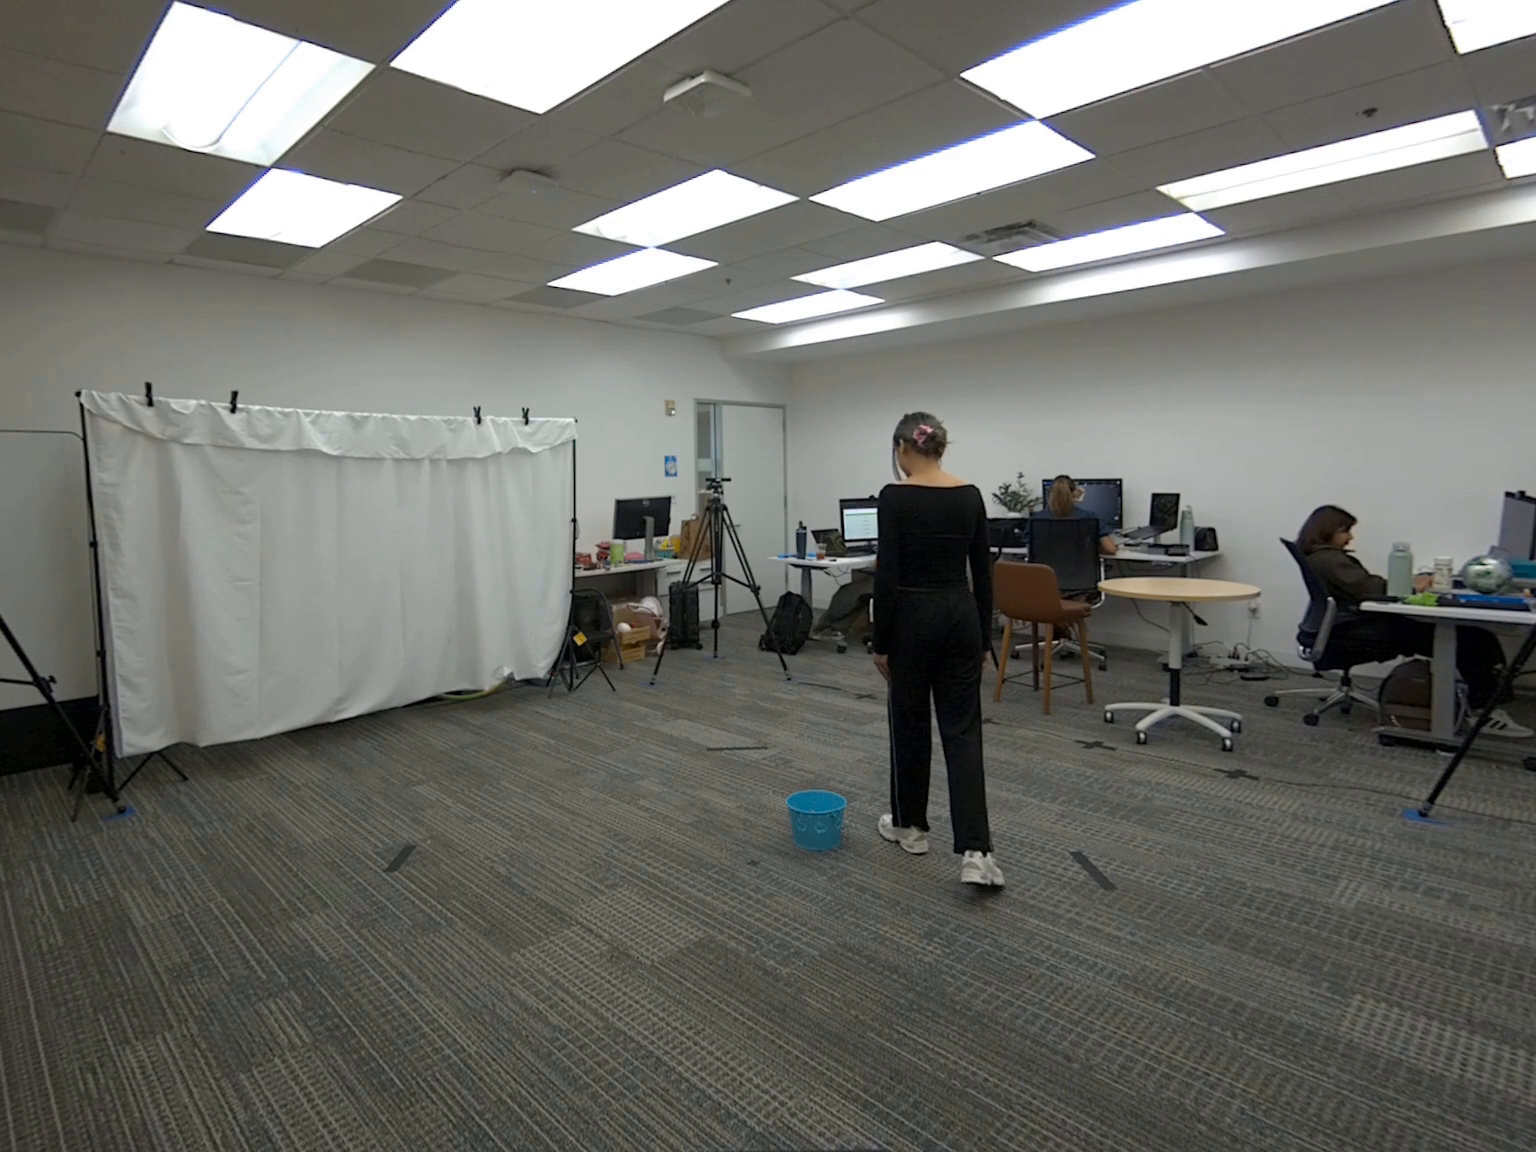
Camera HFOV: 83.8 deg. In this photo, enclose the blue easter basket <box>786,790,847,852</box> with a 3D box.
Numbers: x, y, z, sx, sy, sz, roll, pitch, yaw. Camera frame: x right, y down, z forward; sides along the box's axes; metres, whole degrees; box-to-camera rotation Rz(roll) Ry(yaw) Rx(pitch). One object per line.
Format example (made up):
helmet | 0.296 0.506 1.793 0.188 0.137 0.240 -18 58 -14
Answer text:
blue easter basket | 0.198 0.938 3.287 0.243 0.155 0.245 -2 5 -2
